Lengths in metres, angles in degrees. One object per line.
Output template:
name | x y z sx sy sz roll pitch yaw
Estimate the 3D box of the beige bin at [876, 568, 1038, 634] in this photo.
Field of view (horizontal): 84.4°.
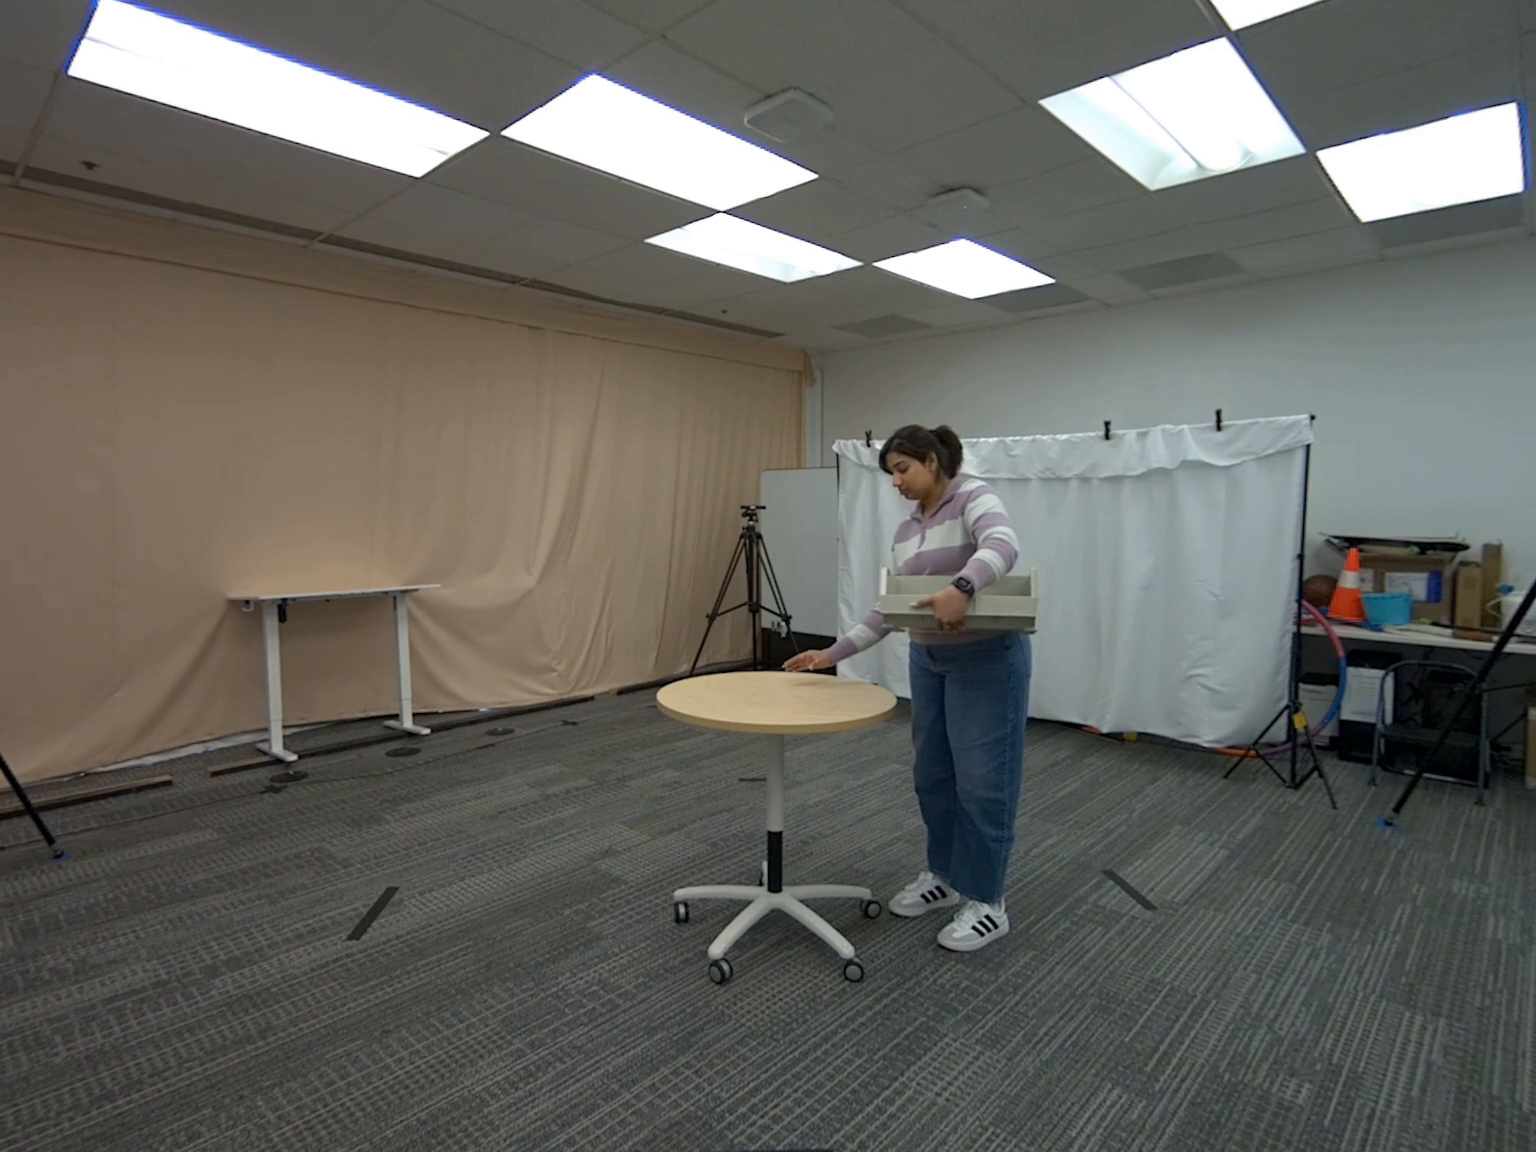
beige bin | 0.565 0.083 2.456 0.430 0.190 0.369 2 -6 15
